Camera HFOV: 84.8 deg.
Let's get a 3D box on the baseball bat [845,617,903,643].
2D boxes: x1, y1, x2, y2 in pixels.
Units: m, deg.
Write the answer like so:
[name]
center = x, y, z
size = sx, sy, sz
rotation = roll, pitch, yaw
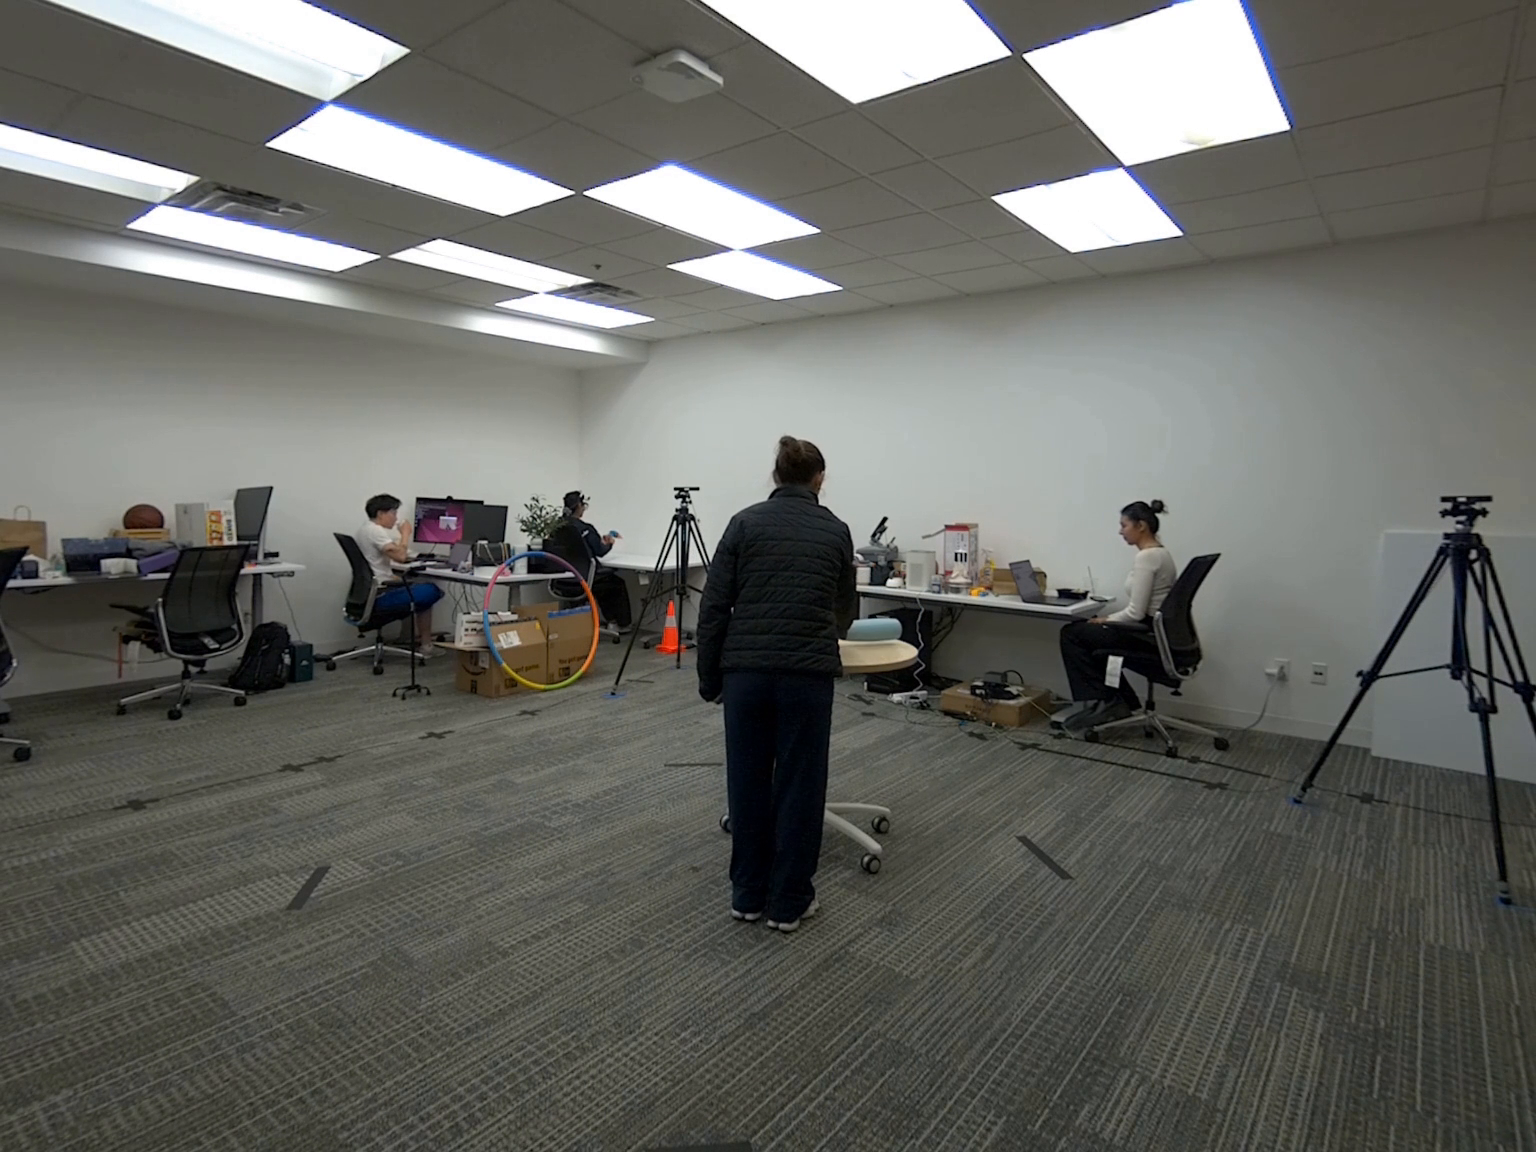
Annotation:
[baseball bat]
center = 0.307, 0.218, 3.343
size = 0.533, 0.089, 0.091
rotation = -1, 5, -19
